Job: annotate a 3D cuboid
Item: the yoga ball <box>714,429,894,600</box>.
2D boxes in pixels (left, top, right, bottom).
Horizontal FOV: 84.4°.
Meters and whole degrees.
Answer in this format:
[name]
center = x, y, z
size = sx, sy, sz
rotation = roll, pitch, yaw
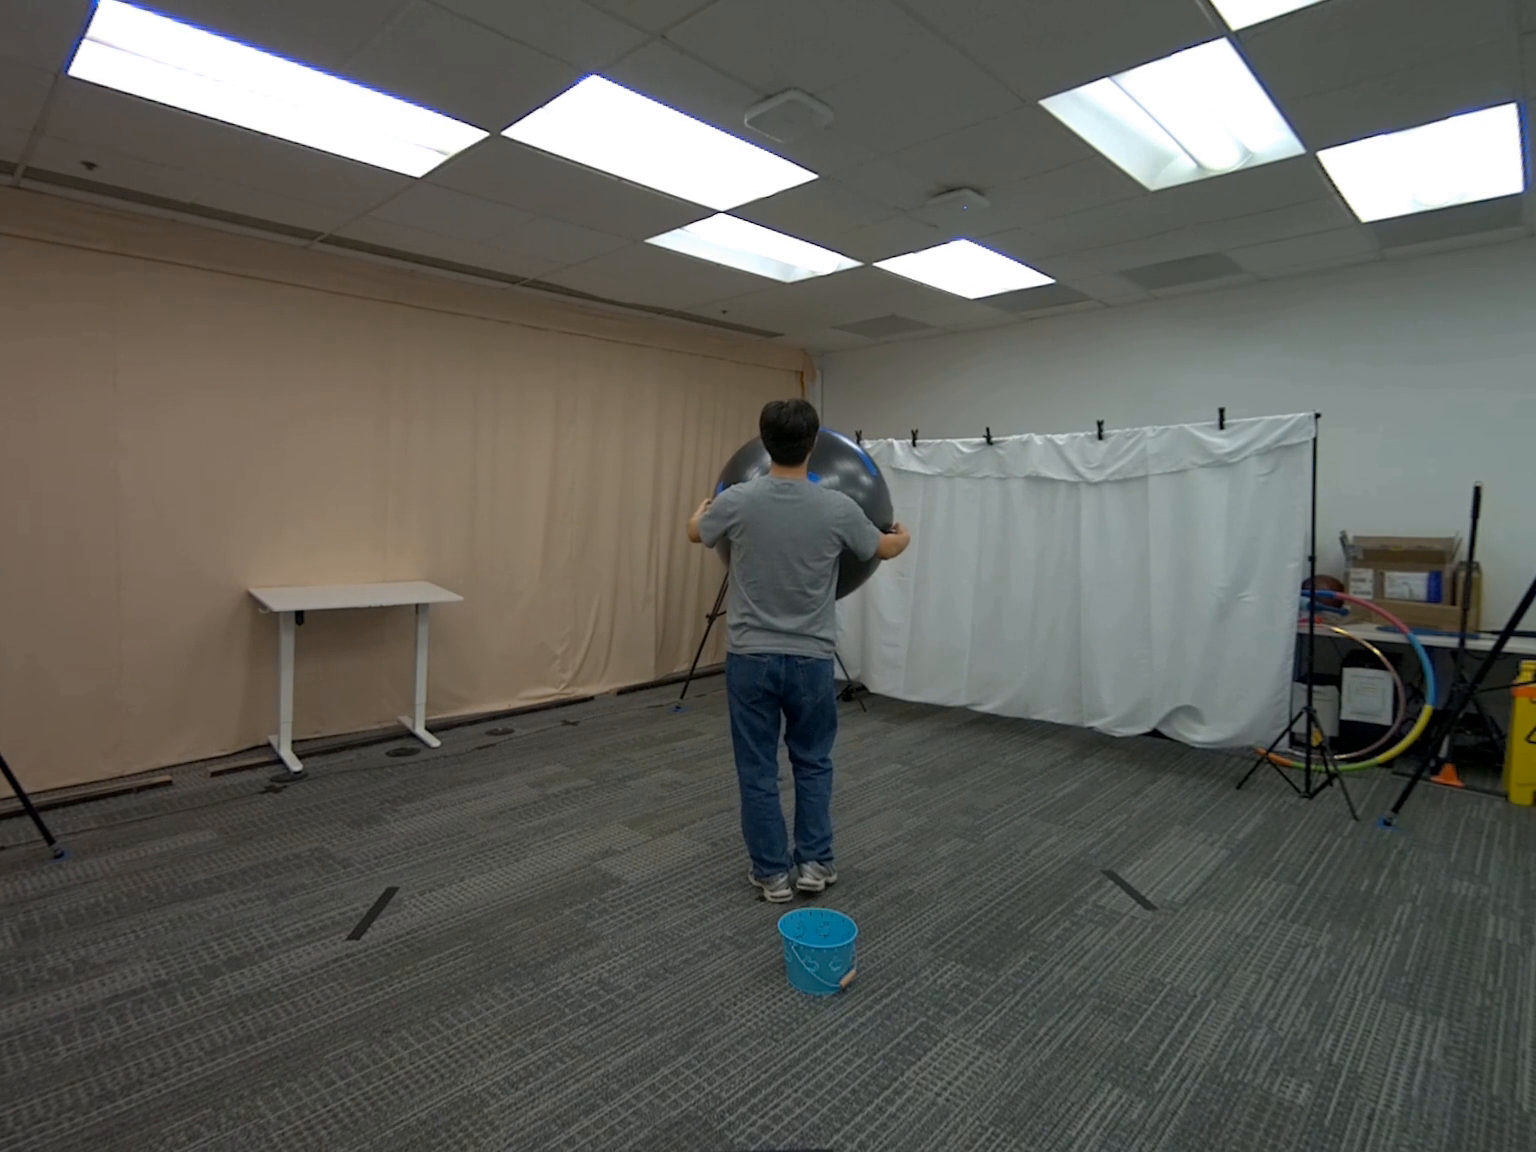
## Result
[yoga ball]
center = 0.142, -0.243, 3.533
size = 0.757, 0.756, 0.761
rotation = 0, 4, -2
